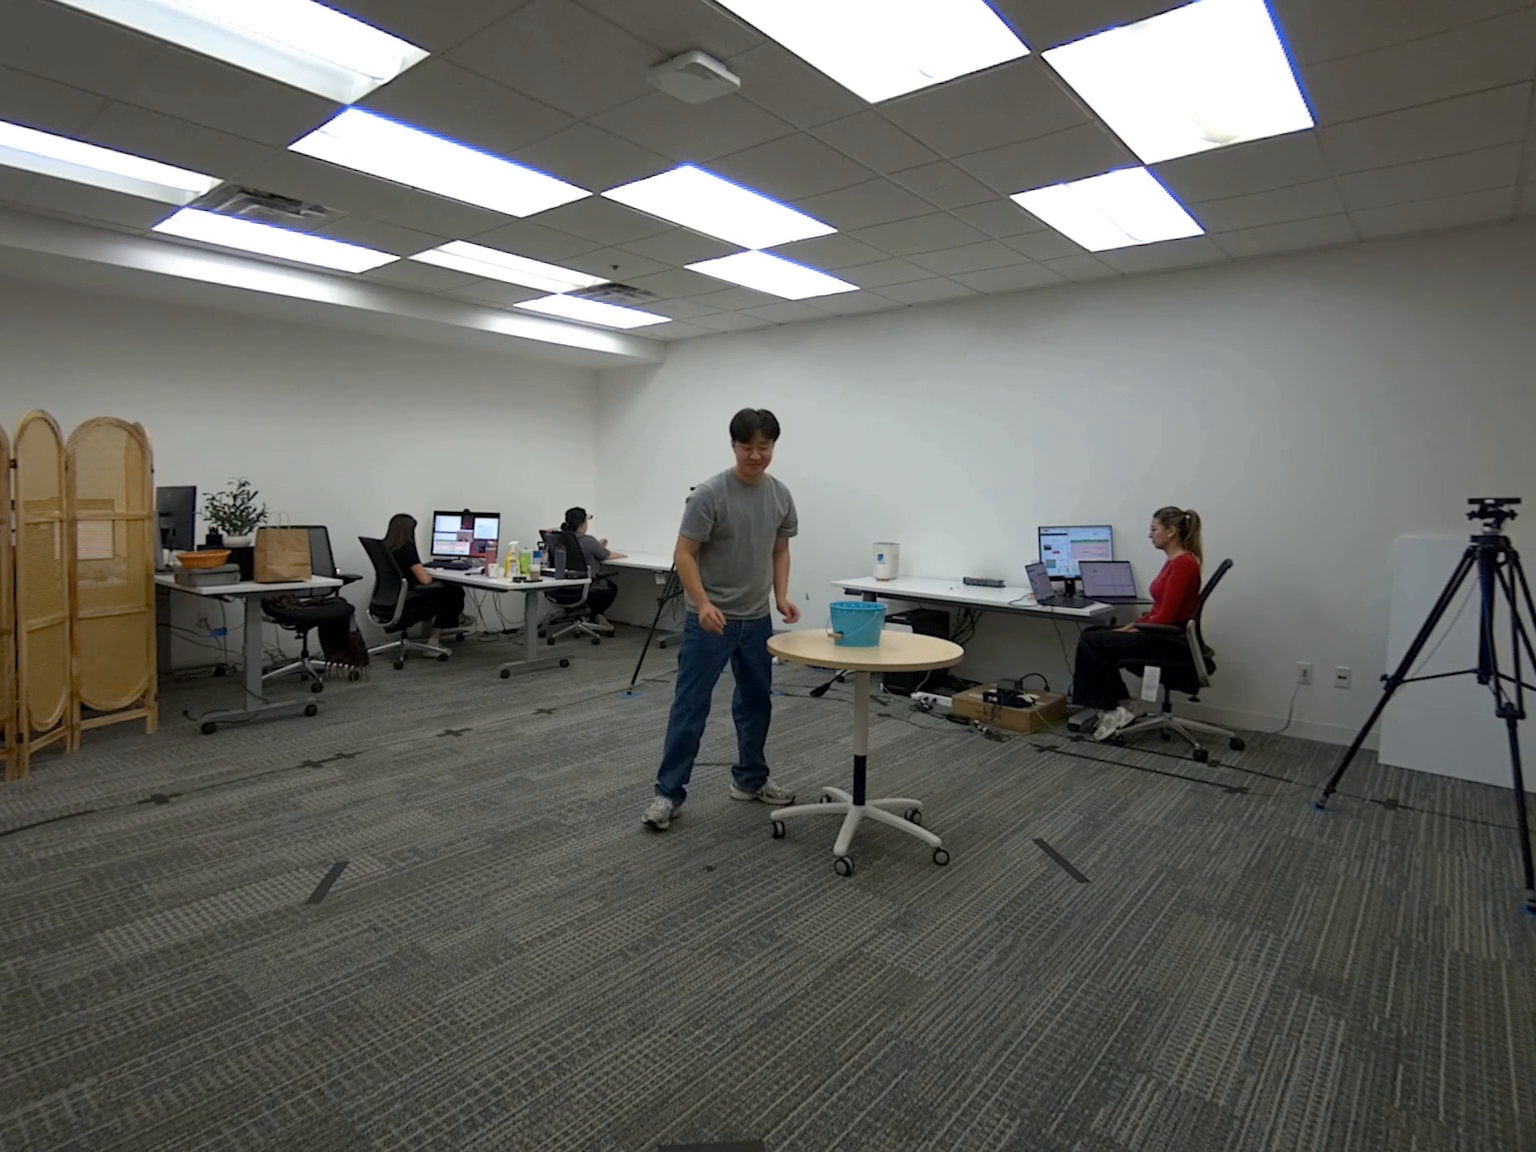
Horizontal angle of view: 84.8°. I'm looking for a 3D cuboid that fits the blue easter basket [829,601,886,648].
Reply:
[{"bbox_3d":[0.350,0.192,3.414,0.243,0.155,0.245,1,5,-2],"label":"blue easter basket"}]
